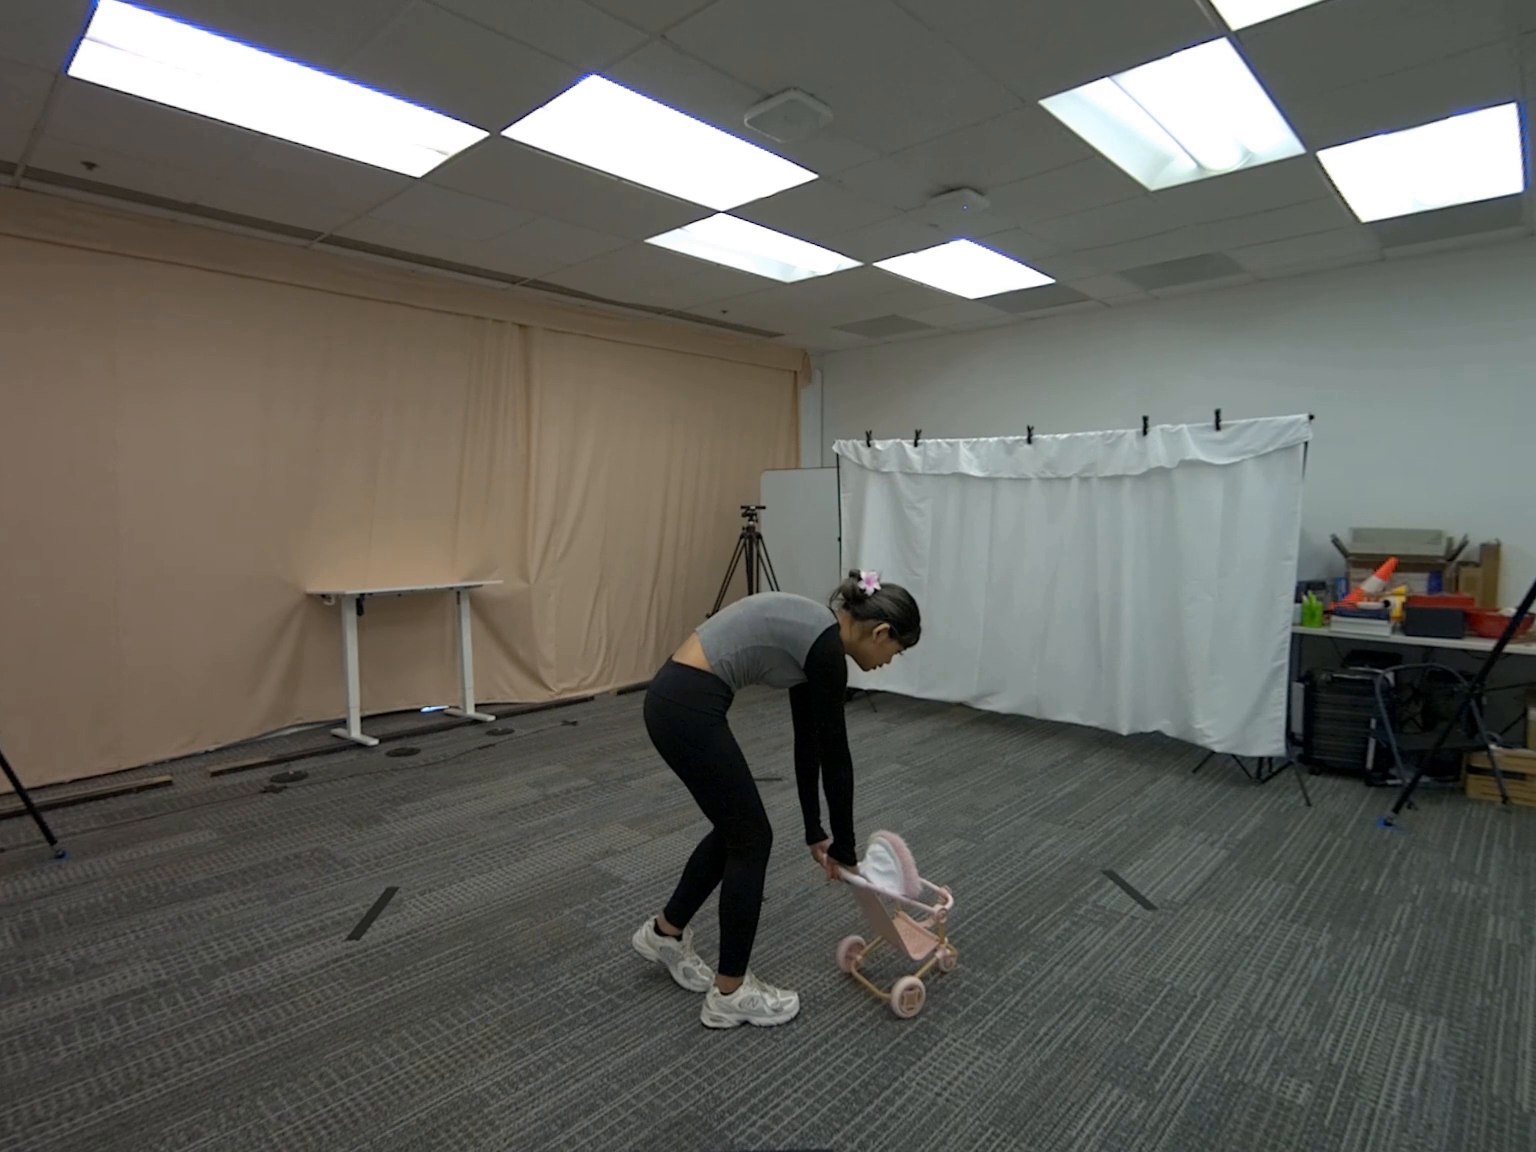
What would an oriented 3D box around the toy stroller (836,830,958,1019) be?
[{"bbox_3d":[0.376,0.965,2.418,0.335,0.530,0.289,-19,12,-23],"label":"toy stroller"}]
